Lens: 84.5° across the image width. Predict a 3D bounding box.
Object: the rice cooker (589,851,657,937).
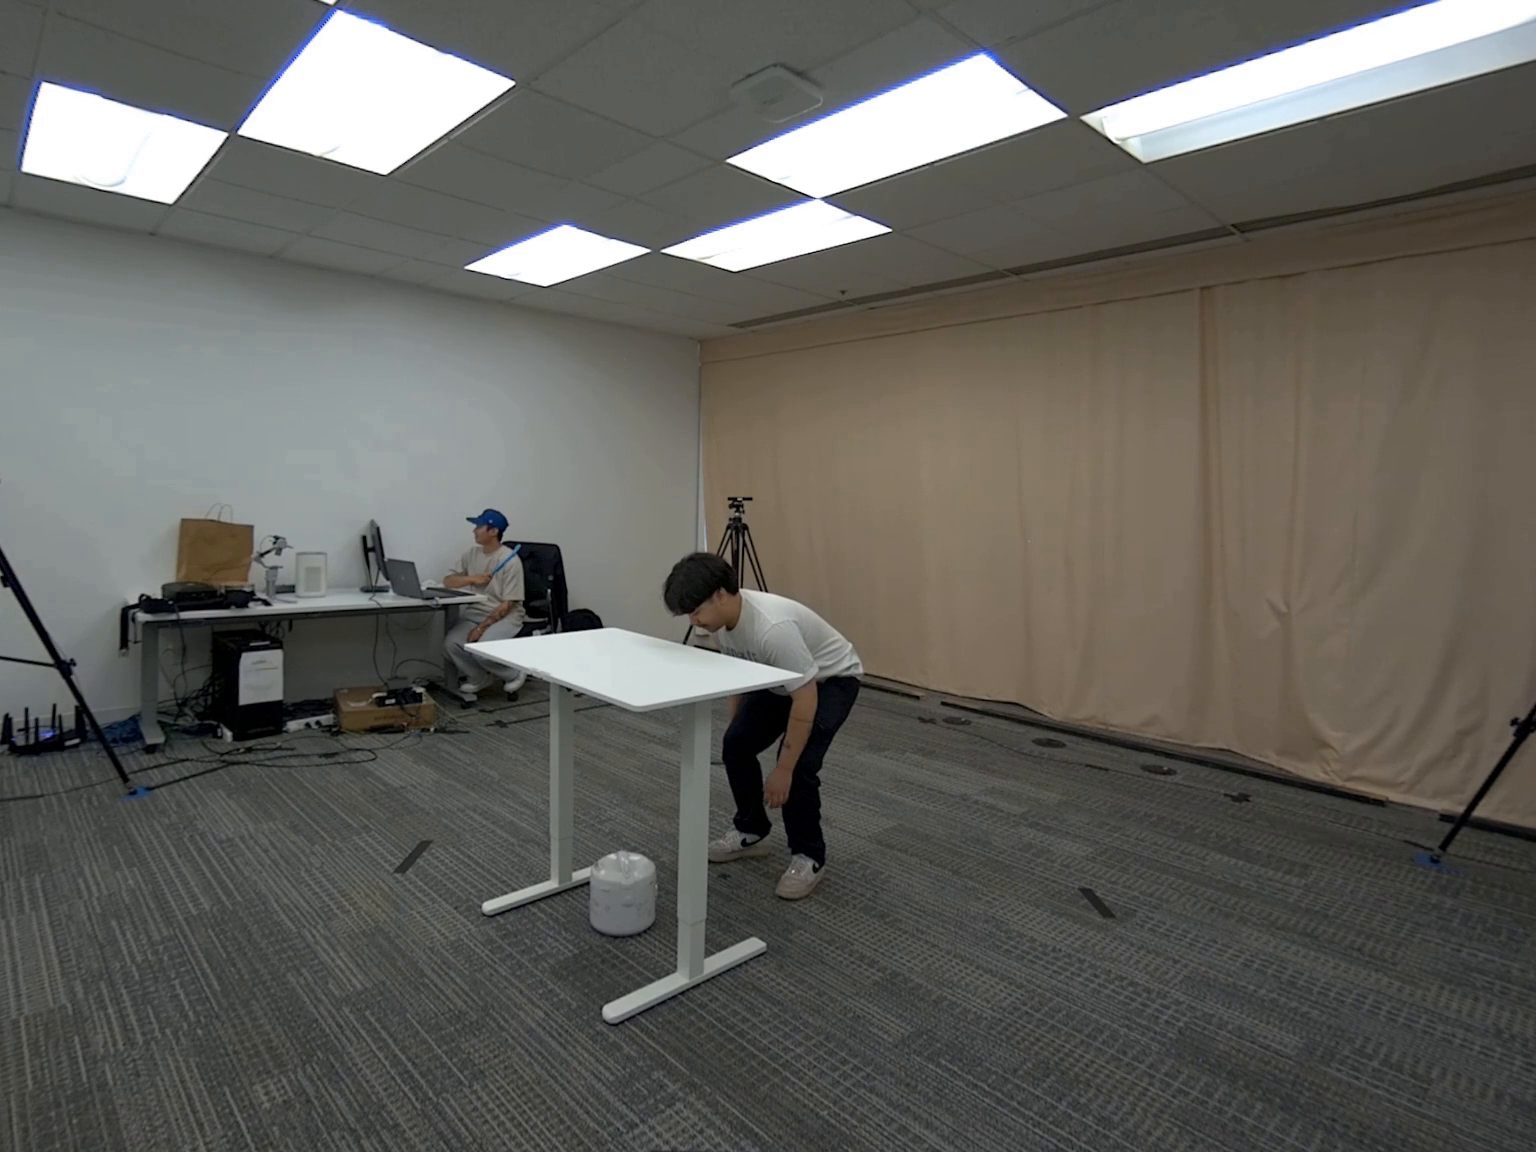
[{"bbox_3d":[-0.471,1.020,2.730,0.215,0.232,0.224,0,4,-15],"label":"rice cooker"}]
